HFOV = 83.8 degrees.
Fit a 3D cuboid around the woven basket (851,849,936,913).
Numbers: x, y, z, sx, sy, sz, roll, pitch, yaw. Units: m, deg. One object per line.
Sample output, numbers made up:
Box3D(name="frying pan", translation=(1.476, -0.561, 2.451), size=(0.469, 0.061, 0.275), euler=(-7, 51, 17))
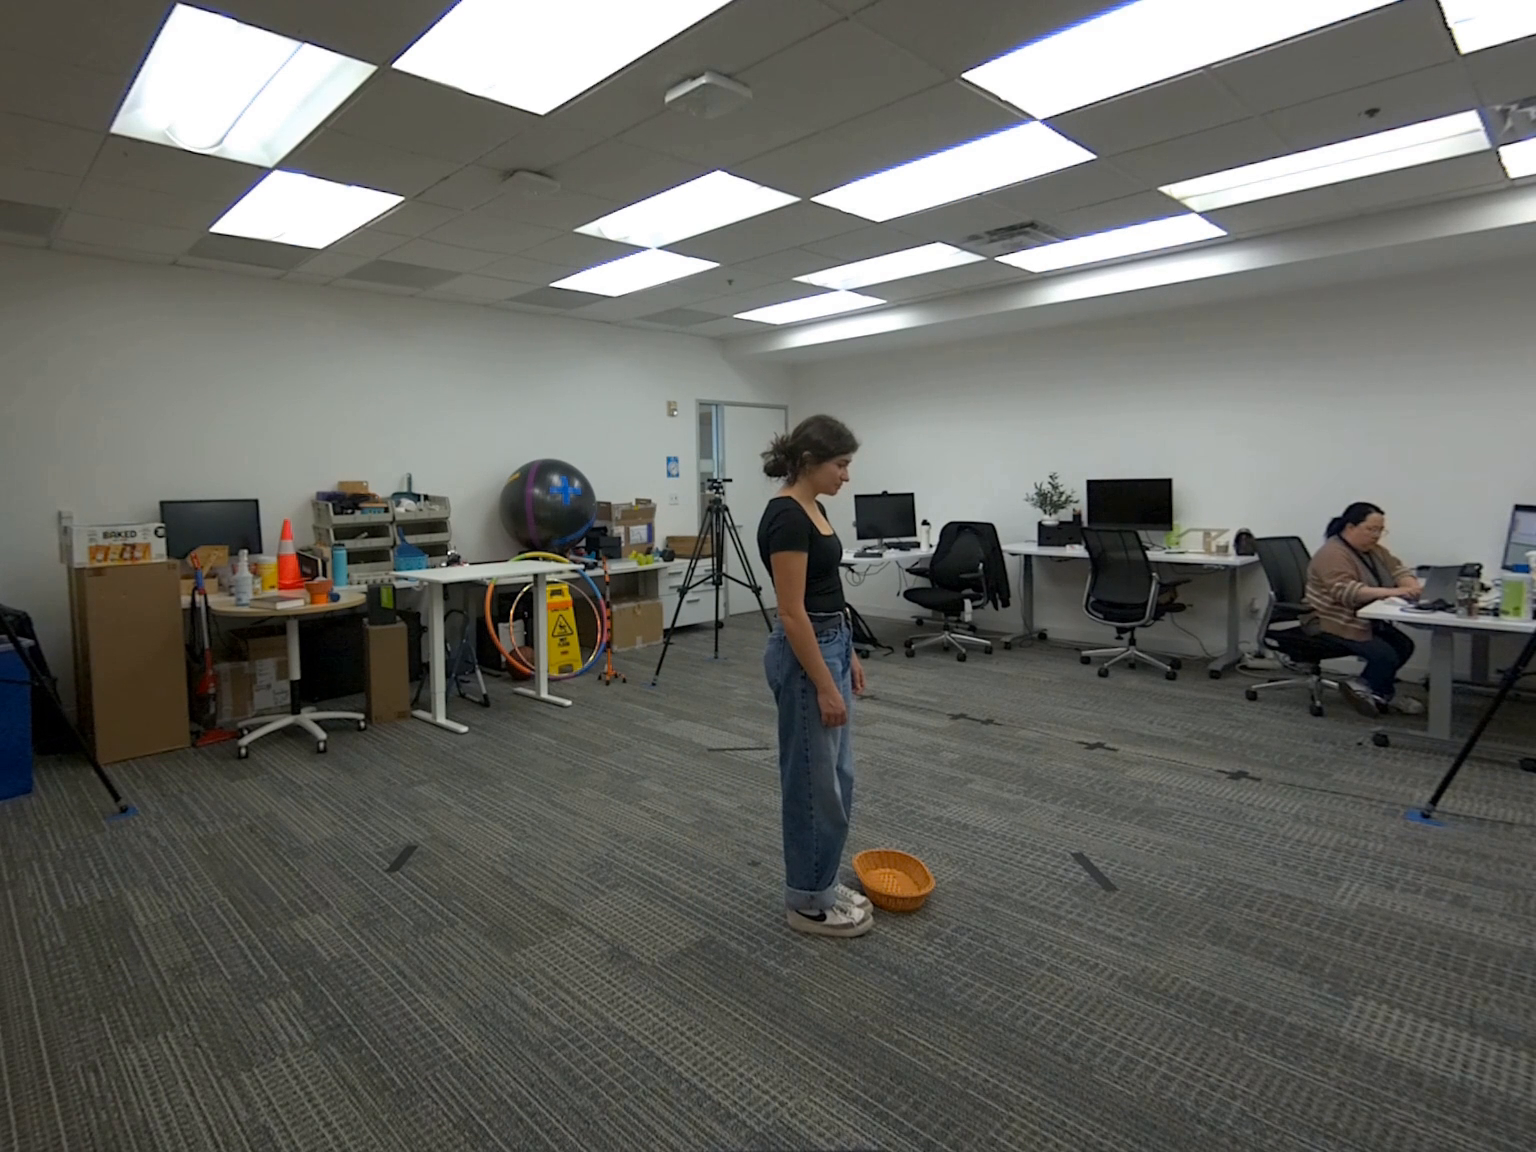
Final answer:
Box3D(name="woven basket", translation=(0.423, 1.023, 2.879), size=(0.251, 0.073, 0.353), euler=(-1, 6, -4))
